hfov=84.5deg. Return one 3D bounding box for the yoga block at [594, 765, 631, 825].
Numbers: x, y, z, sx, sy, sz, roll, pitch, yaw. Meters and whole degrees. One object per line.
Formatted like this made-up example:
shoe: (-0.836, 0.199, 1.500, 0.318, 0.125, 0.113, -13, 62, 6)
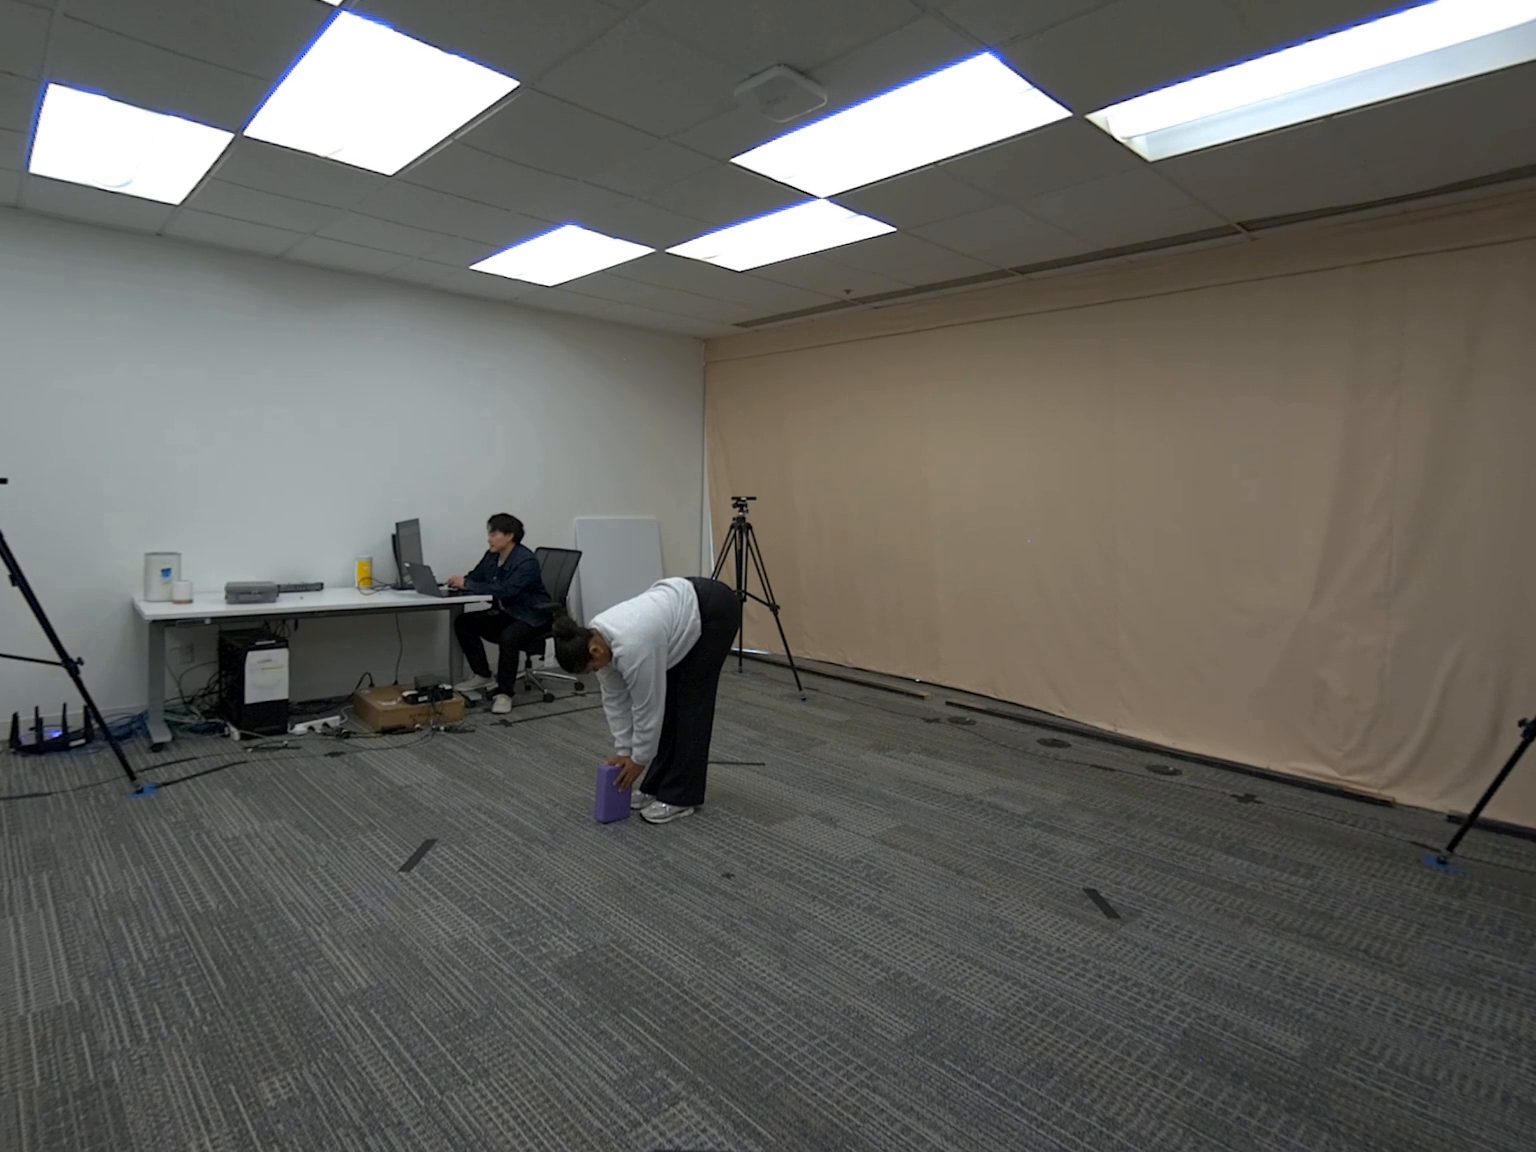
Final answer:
yoga block: (-0.671, 0.929, 3.623, 0.078, 0.229, 0.145, 2, 0, 43)
